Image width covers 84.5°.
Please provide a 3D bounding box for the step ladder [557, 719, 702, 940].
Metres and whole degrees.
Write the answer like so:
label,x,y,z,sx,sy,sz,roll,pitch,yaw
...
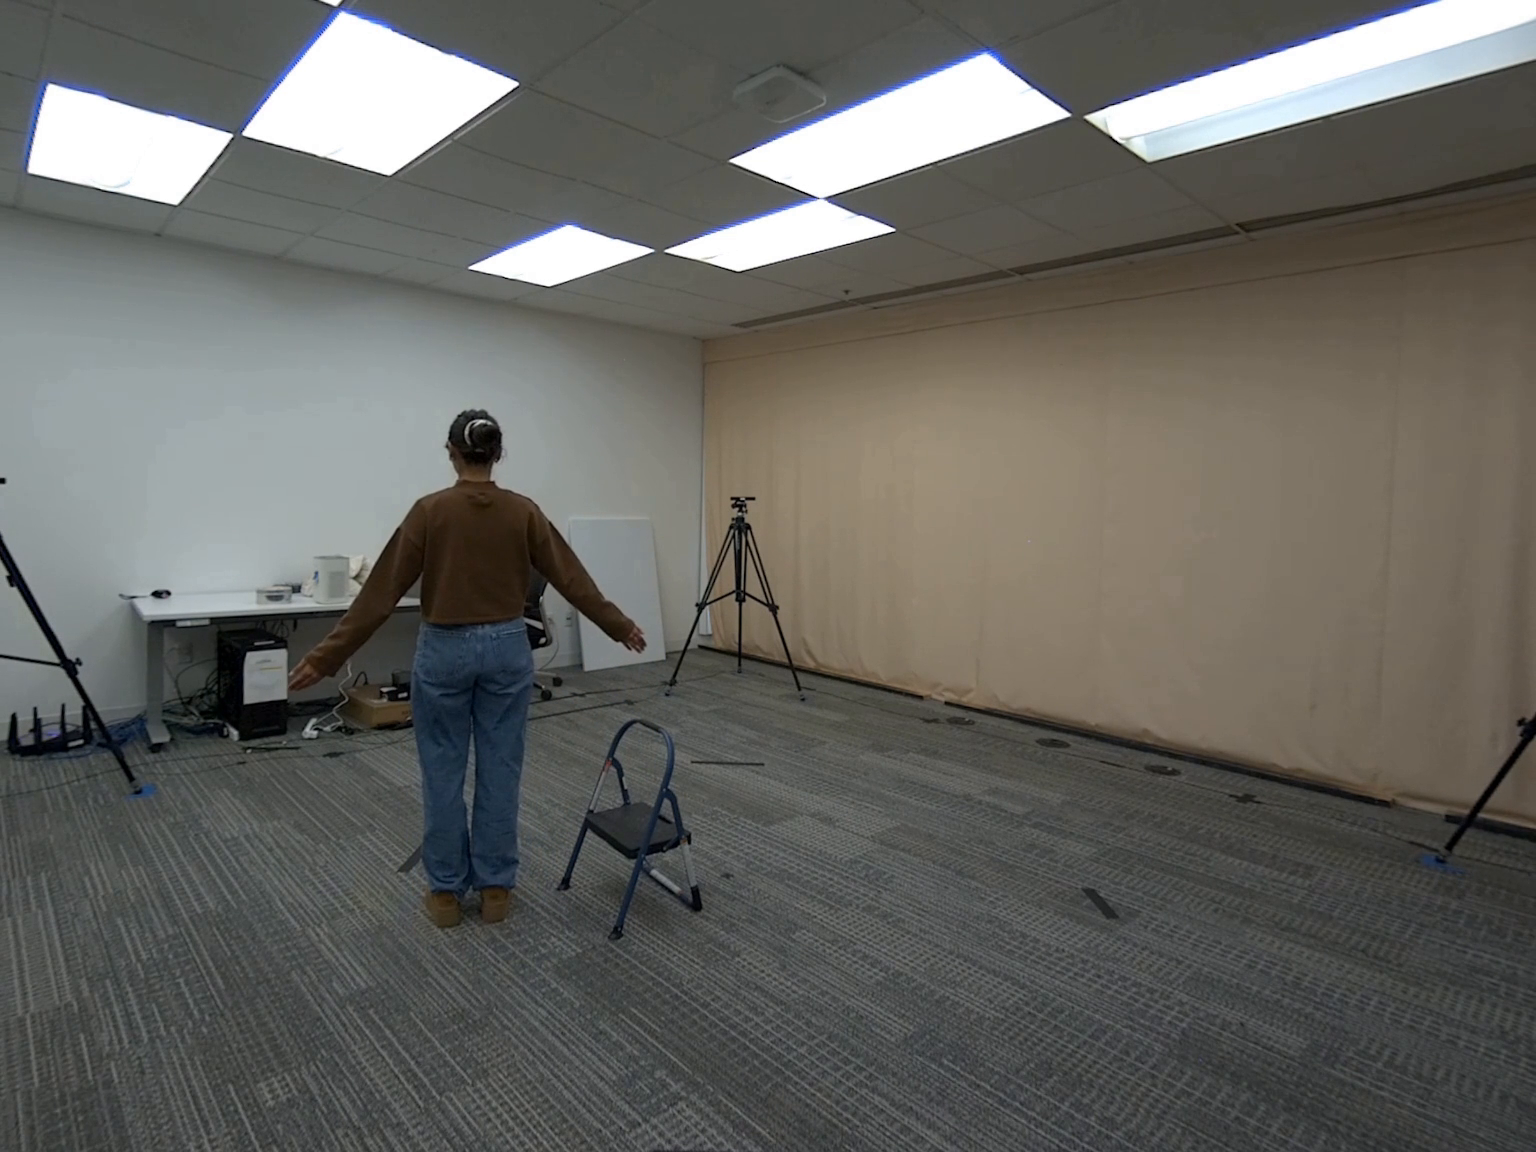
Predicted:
label,x,y,z,sx,sy,sz,roll,pitch,yaw
step ladder,-0.477,0.817,2.888,0.341,0.605,0.441,-1,4,-38
